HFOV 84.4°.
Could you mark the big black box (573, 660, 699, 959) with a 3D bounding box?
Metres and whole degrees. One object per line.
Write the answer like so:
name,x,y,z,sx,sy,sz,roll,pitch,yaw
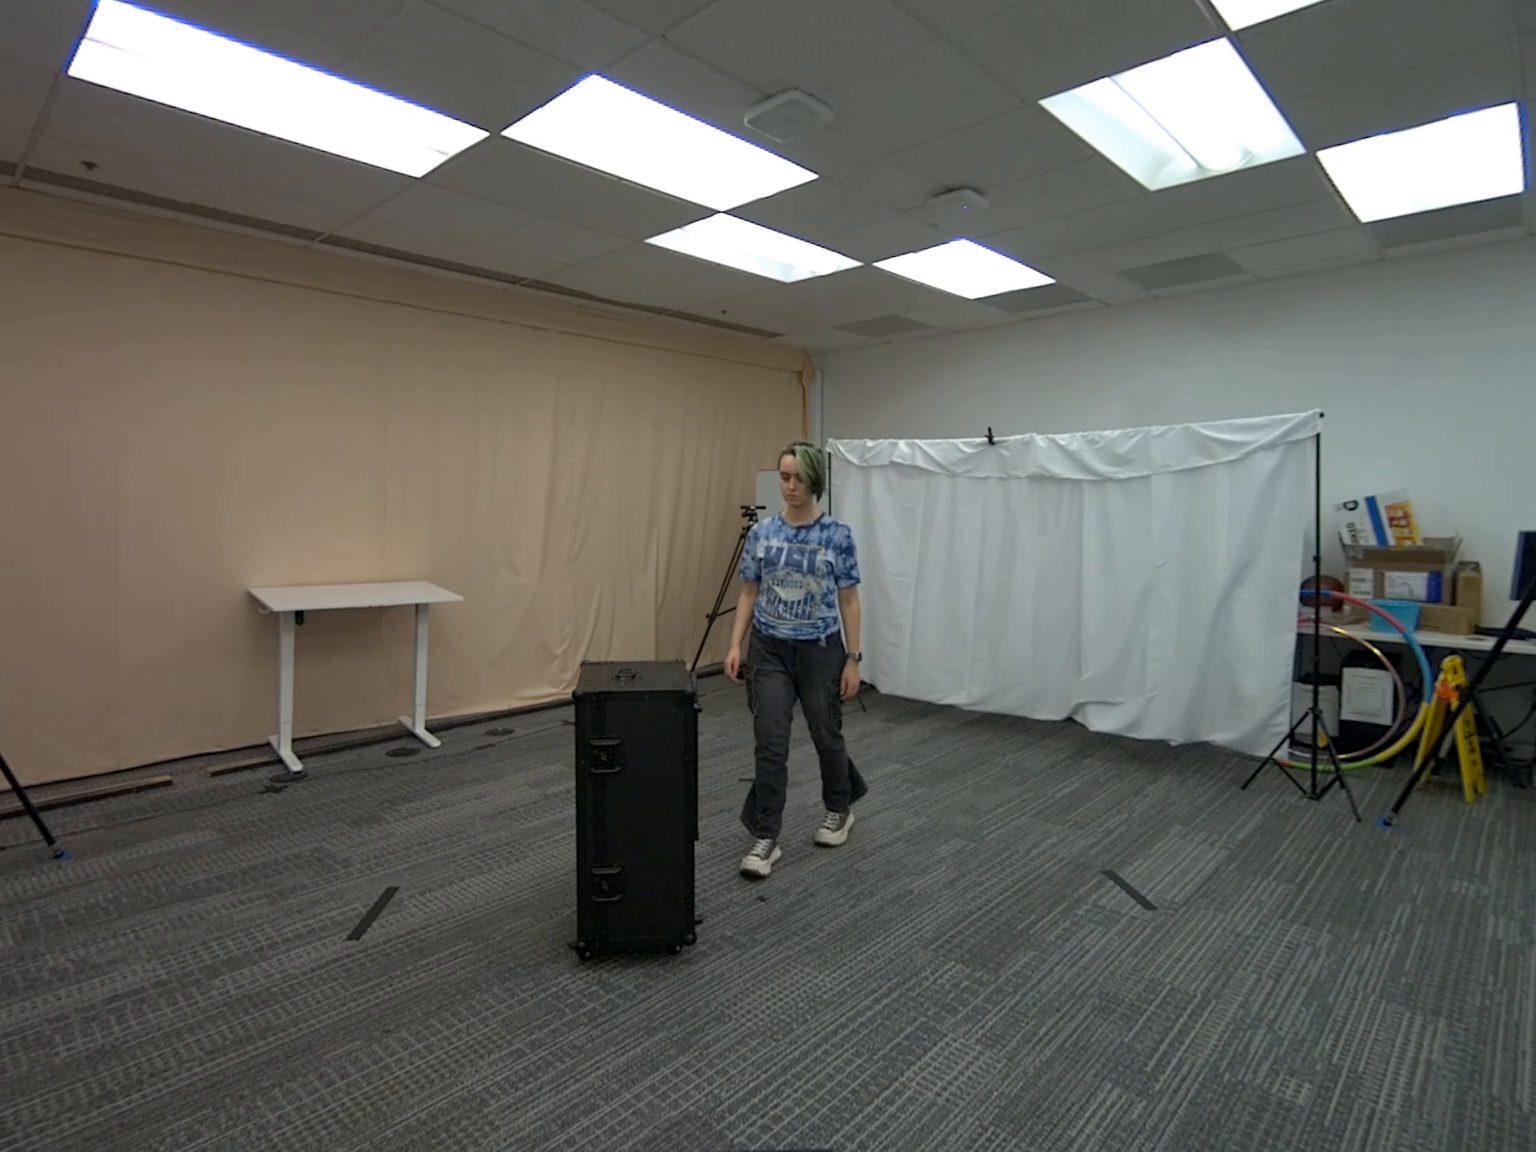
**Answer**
big black box,-0.427,0.743,2.739,0.393,0.860,0.526,0,2,-8
